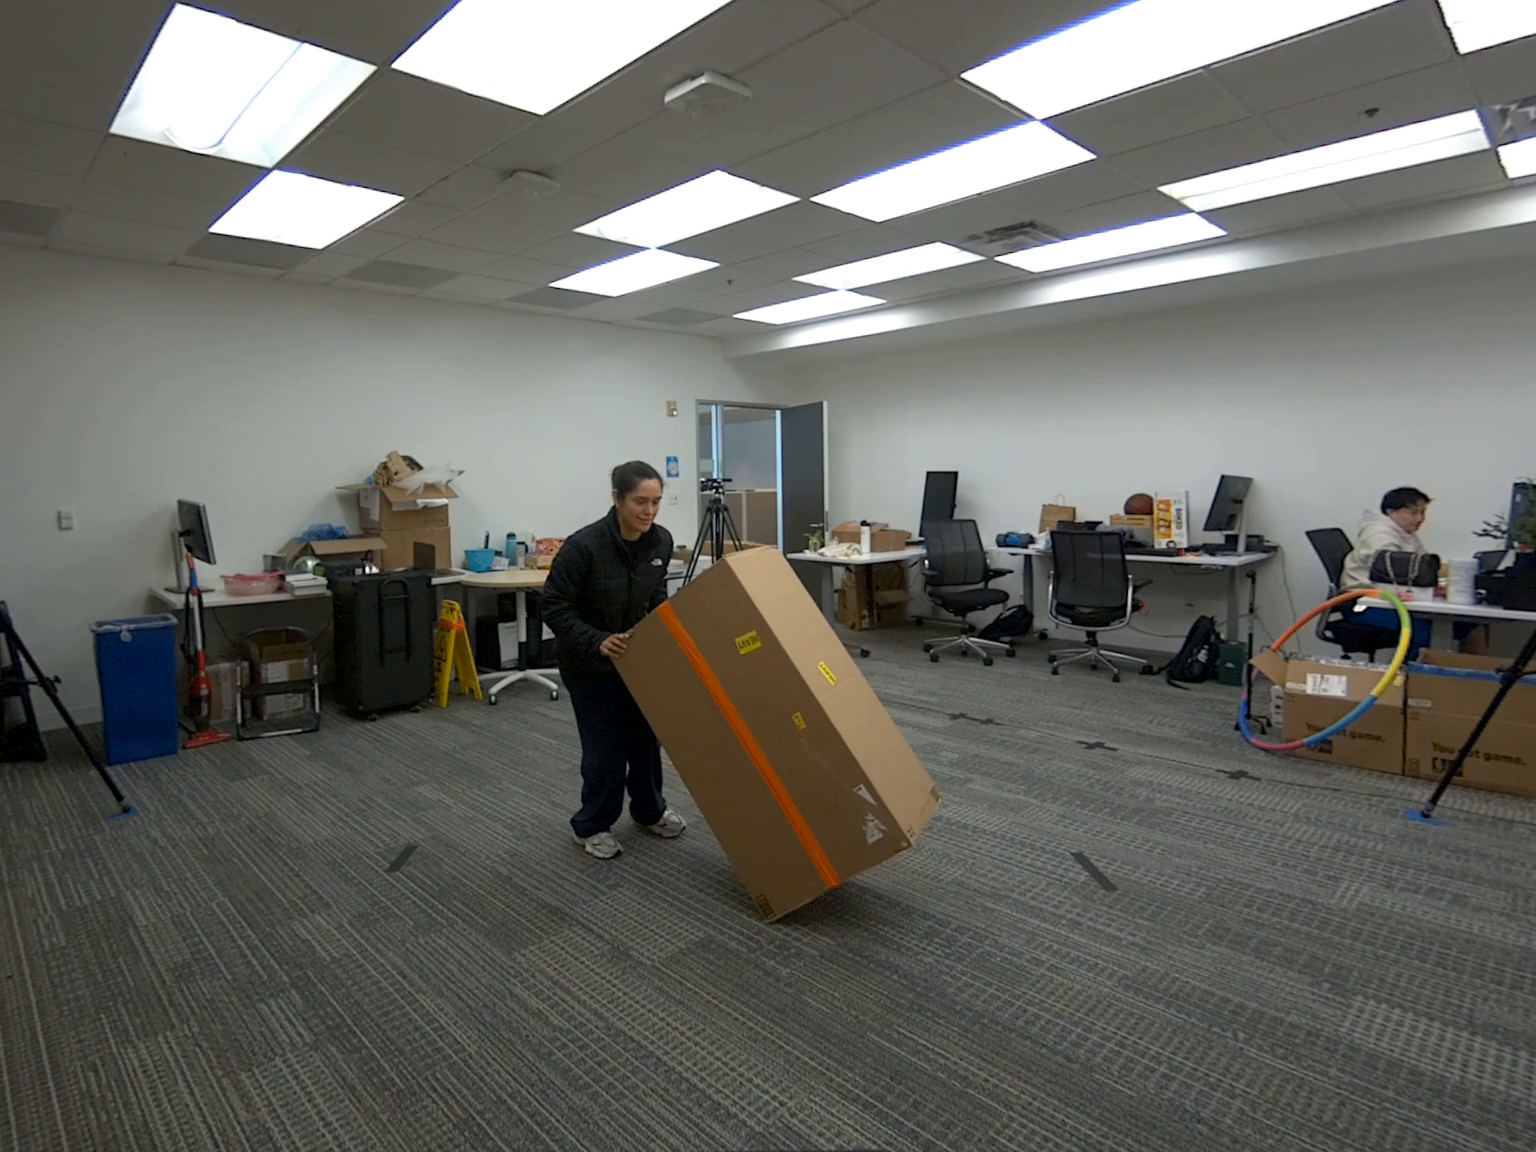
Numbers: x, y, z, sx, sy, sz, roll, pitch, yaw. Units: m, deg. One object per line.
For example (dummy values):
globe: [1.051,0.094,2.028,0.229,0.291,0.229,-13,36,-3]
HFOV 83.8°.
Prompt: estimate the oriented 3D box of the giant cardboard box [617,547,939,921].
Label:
giant cardboard box: [0.014,0.491,2.879,0.586,1.042,0.438,-38,-12,24]
